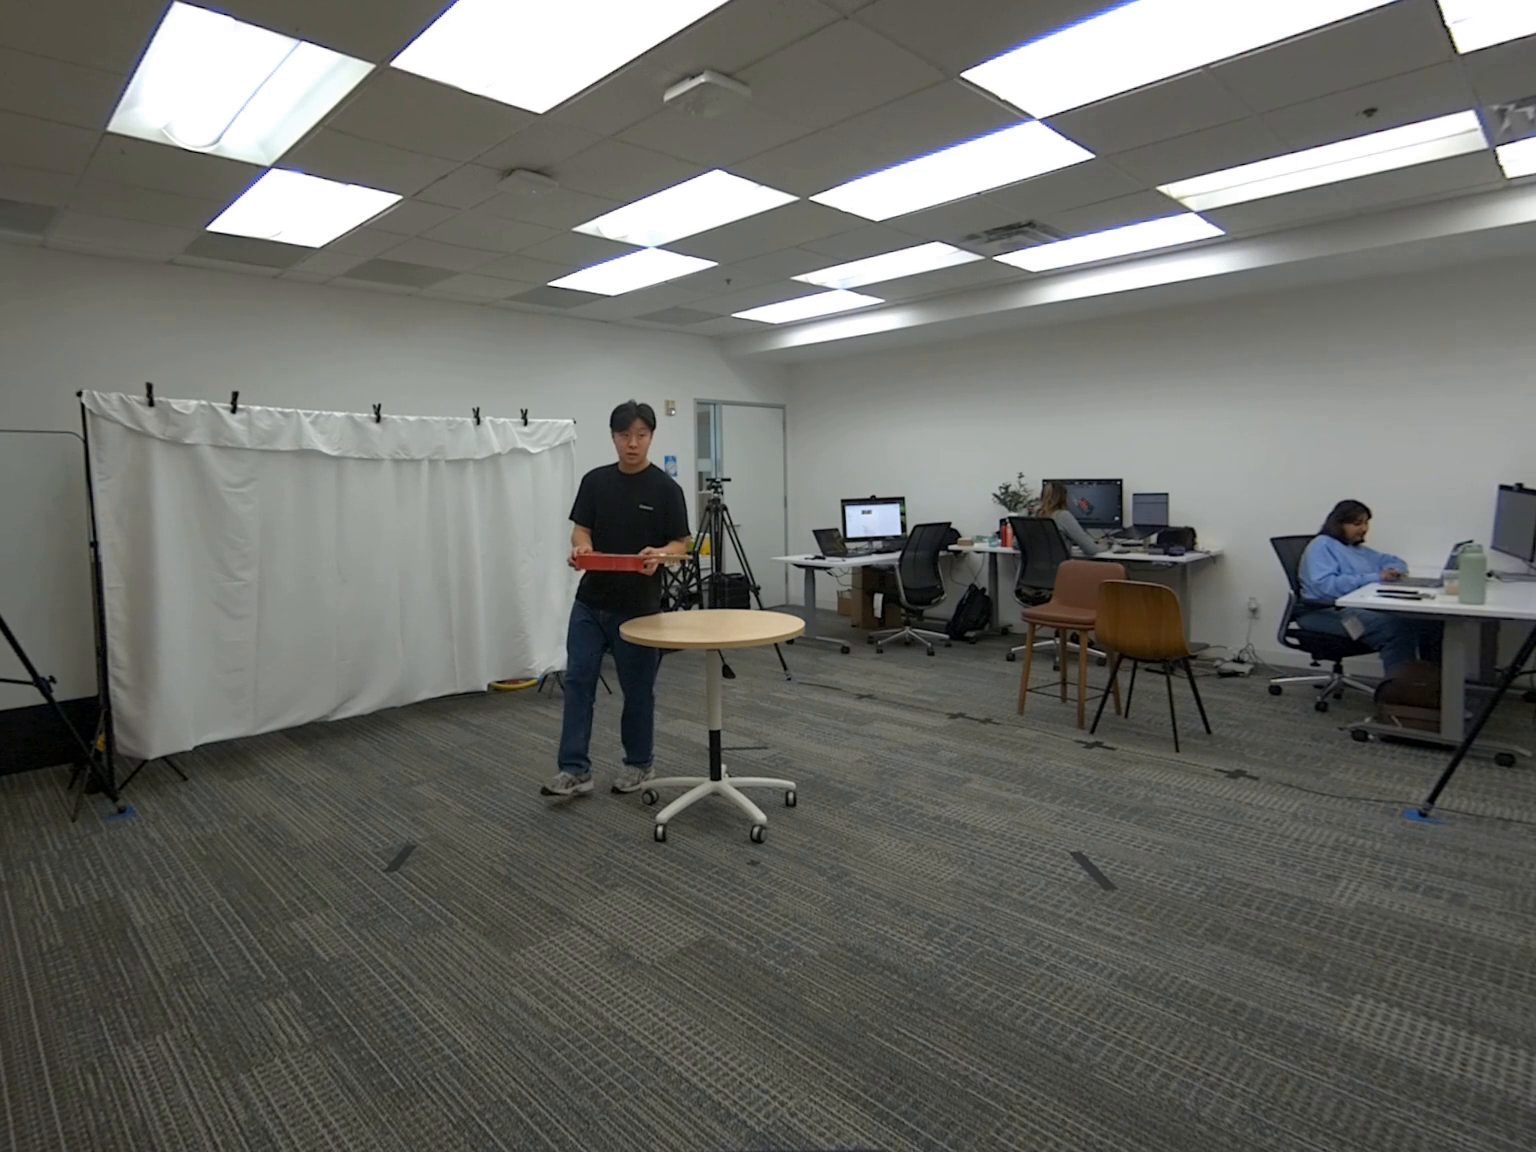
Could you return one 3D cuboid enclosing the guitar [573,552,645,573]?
[{"bbox_3d":[-0.551,-0.053,3.423,0.510,0.070,0.188,3,4,28],"label":"guitar"}]
